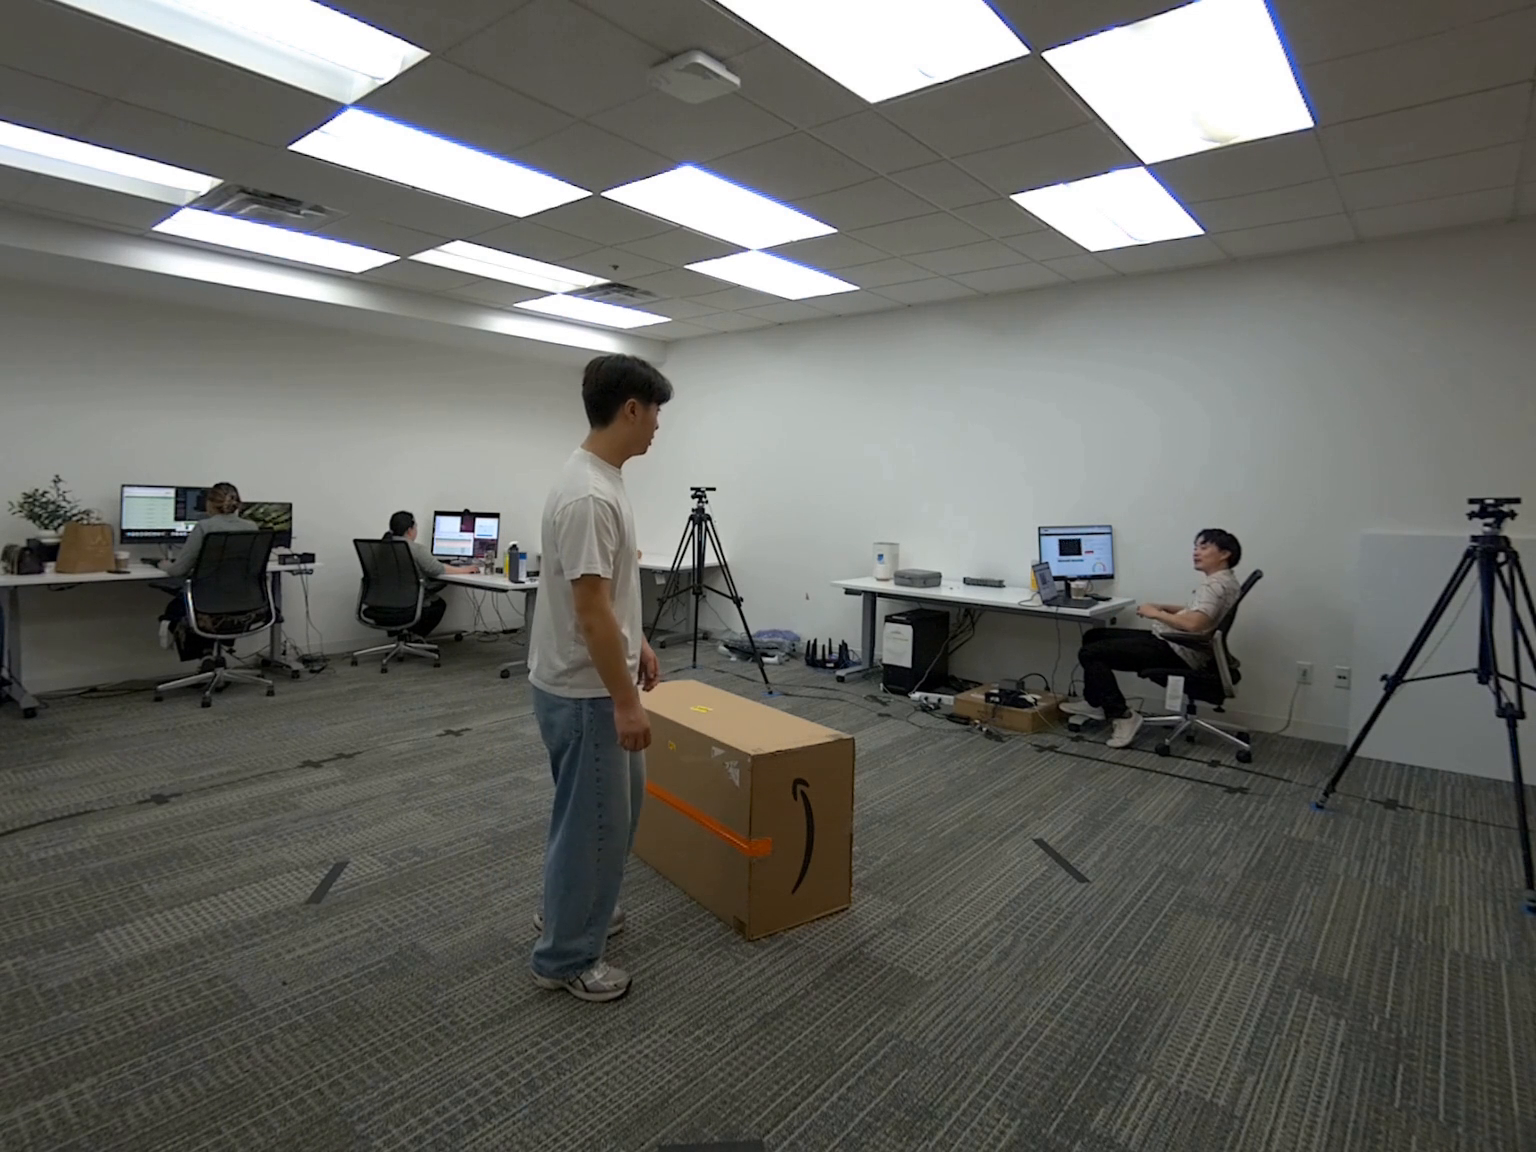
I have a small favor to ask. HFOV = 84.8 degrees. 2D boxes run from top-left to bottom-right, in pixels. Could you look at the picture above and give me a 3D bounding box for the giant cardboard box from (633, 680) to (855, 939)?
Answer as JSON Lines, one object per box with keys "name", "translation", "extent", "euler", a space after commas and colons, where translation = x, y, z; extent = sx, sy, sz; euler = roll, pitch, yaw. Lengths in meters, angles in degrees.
{"name": "giant cardboard box", "translation": [-0.201, 0.776, 3.124], "extent": [0.414, 0.576, 1.059], "euler": [-1, 5, -35]}
